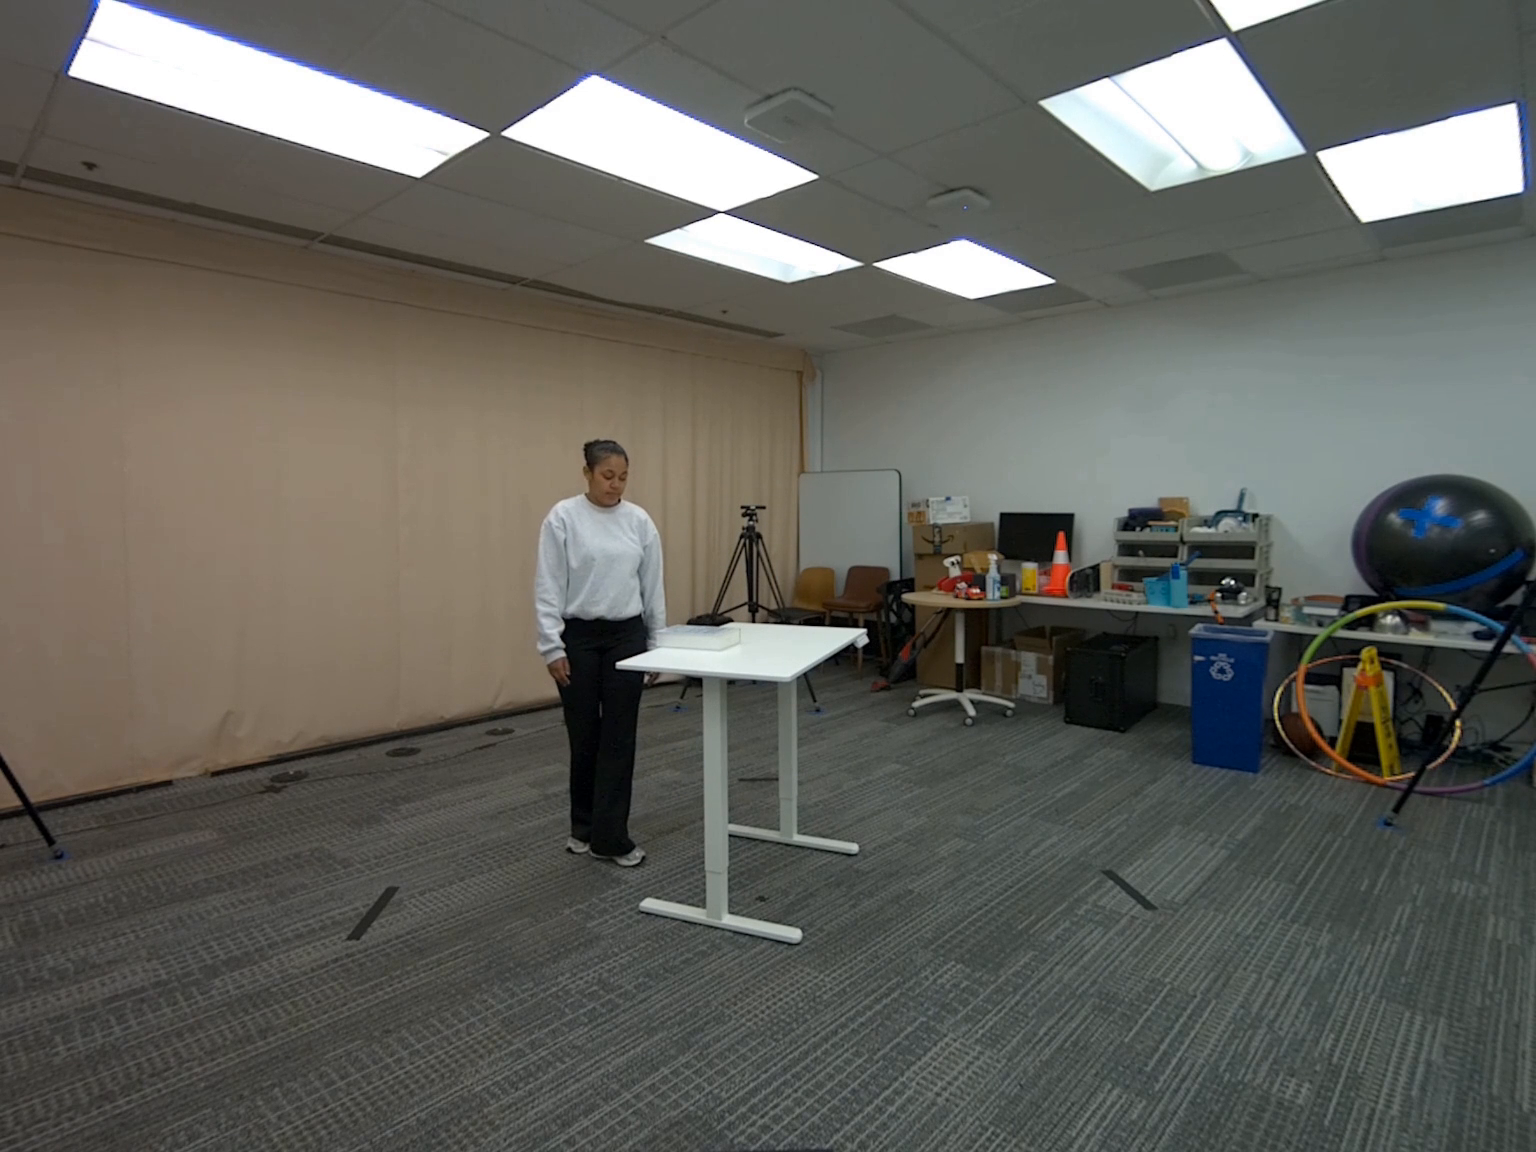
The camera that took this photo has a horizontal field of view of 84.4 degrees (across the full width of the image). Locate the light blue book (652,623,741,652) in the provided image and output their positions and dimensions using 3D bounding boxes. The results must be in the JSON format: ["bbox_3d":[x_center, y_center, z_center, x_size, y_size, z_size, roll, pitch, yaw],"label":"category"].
[{"bbox_3d":[-0.255,0.228,3.104,0.268,0.059,0.187,1,6,25],"label":"light blue book"}]
